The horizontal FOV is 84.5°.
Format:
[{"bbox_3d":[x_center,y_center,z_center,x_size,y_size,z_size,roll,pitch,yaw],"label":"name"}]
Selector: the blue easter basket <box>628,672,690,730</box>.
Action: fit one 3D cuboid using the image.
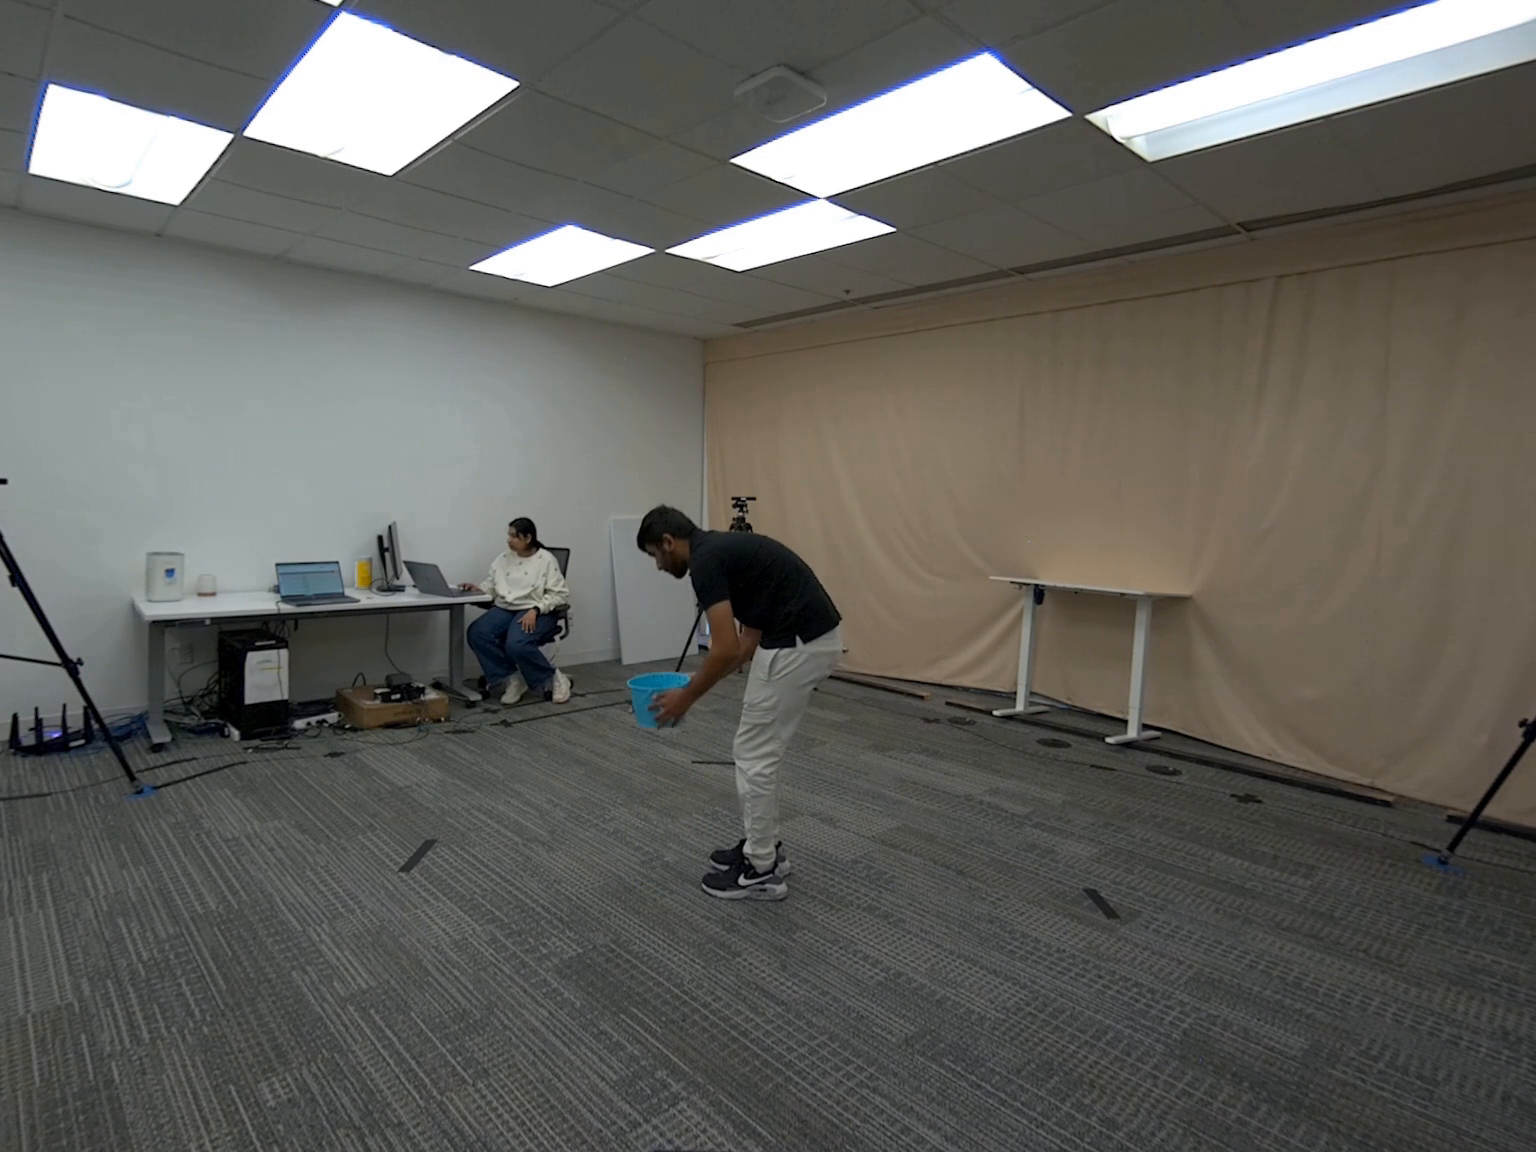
[{"bbox_3d":[-0.404,0.480,3.110,0.243,0.155,0.245,-3,6,-1],"label":"blue easter basket"}]
